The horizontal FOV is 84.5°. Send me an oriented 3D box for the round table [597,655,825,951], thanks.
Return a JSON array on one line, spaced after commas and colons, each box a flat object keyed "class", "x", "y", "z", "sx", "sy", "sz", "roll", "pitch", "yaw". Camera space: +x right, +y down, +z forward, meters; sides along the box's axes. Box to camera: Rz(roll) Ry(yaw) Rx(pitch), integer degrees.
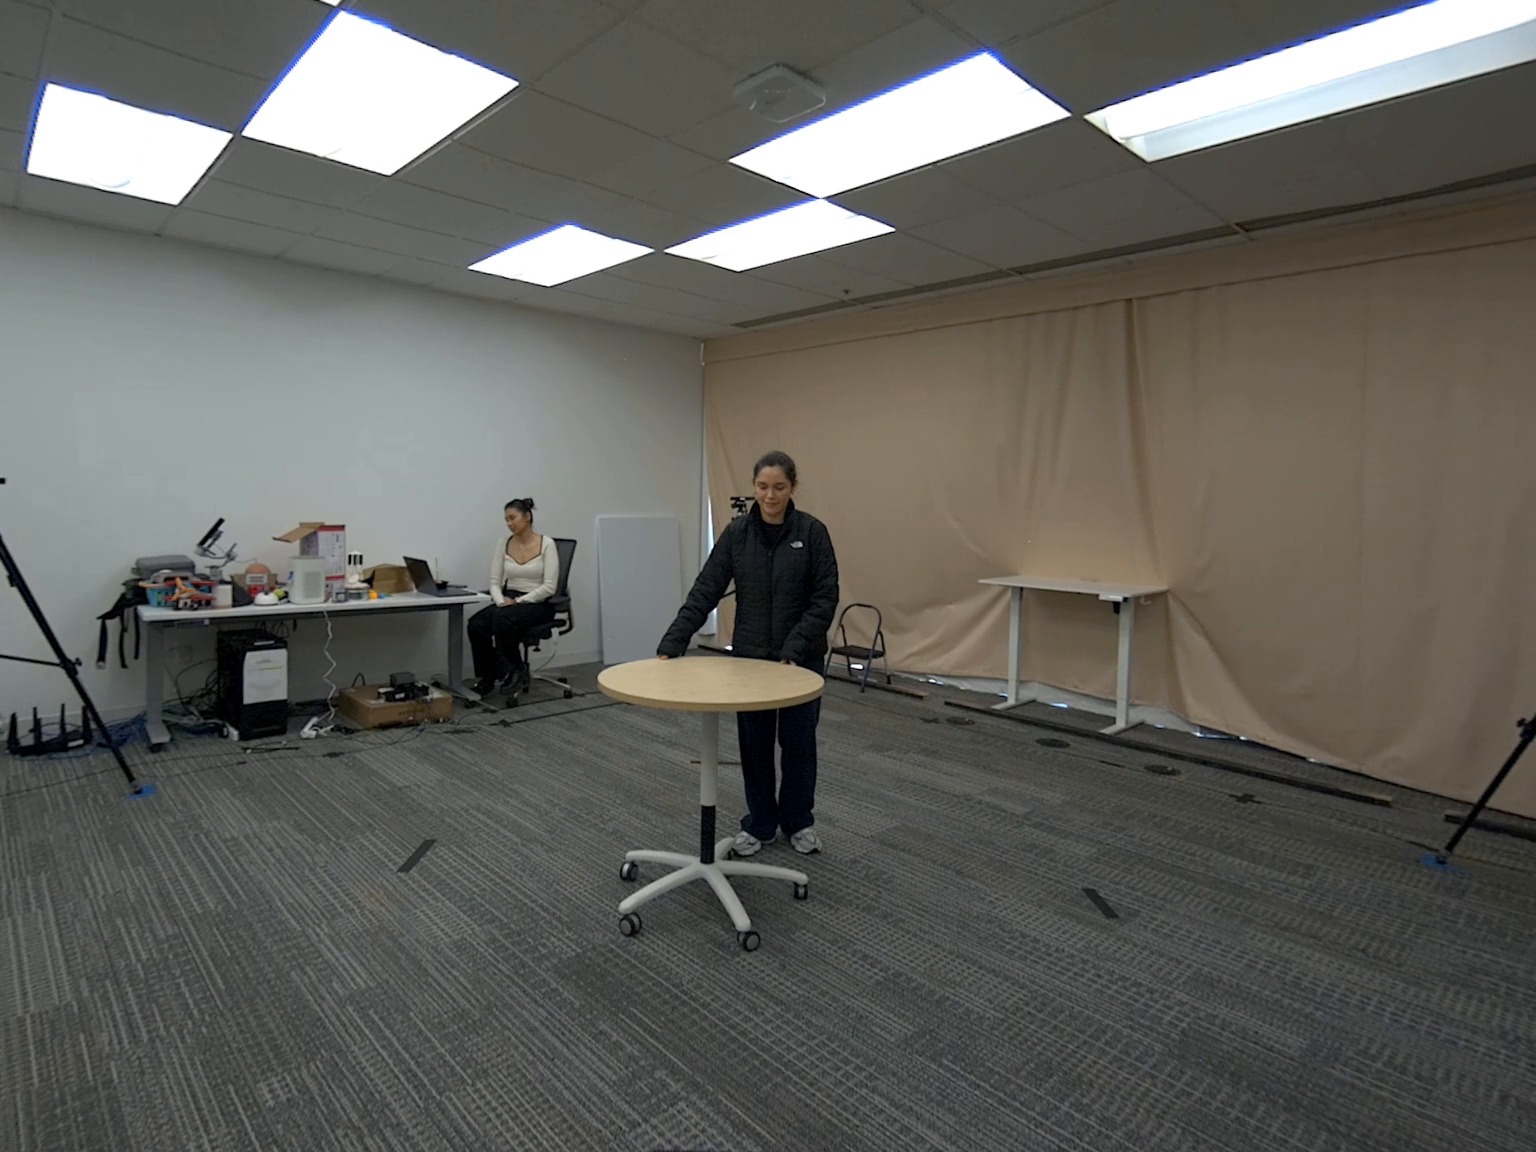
[{"class": "round table", "x": -0.202, "y": 0.734, "z": 2.879, "sx": 0.784, "sy": 0.784, "sz": 0.788, "roll": 1, "pitch": 4, "yaw": -1}]
